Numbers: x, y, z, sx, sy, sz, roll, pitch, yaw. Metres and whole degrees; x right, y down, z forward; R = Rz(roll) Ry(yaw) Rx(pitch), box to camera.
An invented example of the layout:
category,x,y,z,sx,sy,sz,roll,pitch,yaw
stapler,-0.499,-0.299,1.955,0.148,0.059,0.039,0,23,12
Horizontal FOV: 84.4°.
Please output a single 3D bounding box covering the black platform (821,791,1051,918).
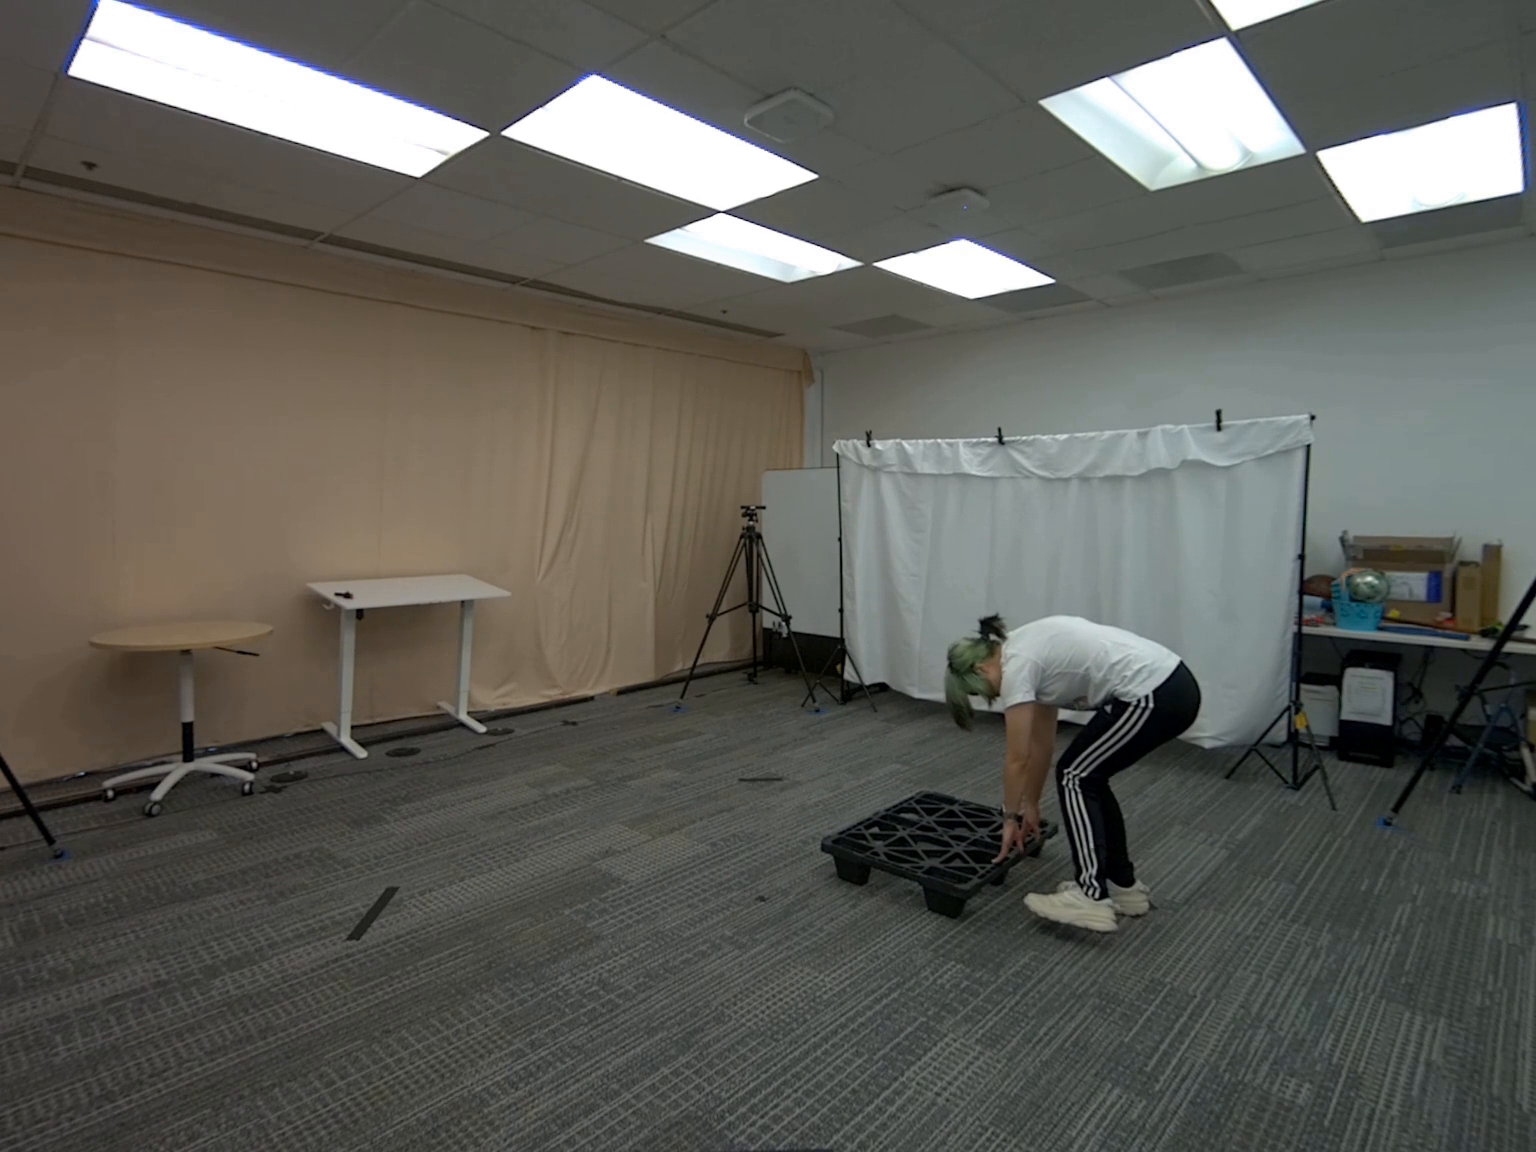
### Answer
category,x,y,z,sx,sy,sz,roll,pitch,yaw
black platform,0.680,1.051,3.247,0.625,0.143,0.781,4,7,41
